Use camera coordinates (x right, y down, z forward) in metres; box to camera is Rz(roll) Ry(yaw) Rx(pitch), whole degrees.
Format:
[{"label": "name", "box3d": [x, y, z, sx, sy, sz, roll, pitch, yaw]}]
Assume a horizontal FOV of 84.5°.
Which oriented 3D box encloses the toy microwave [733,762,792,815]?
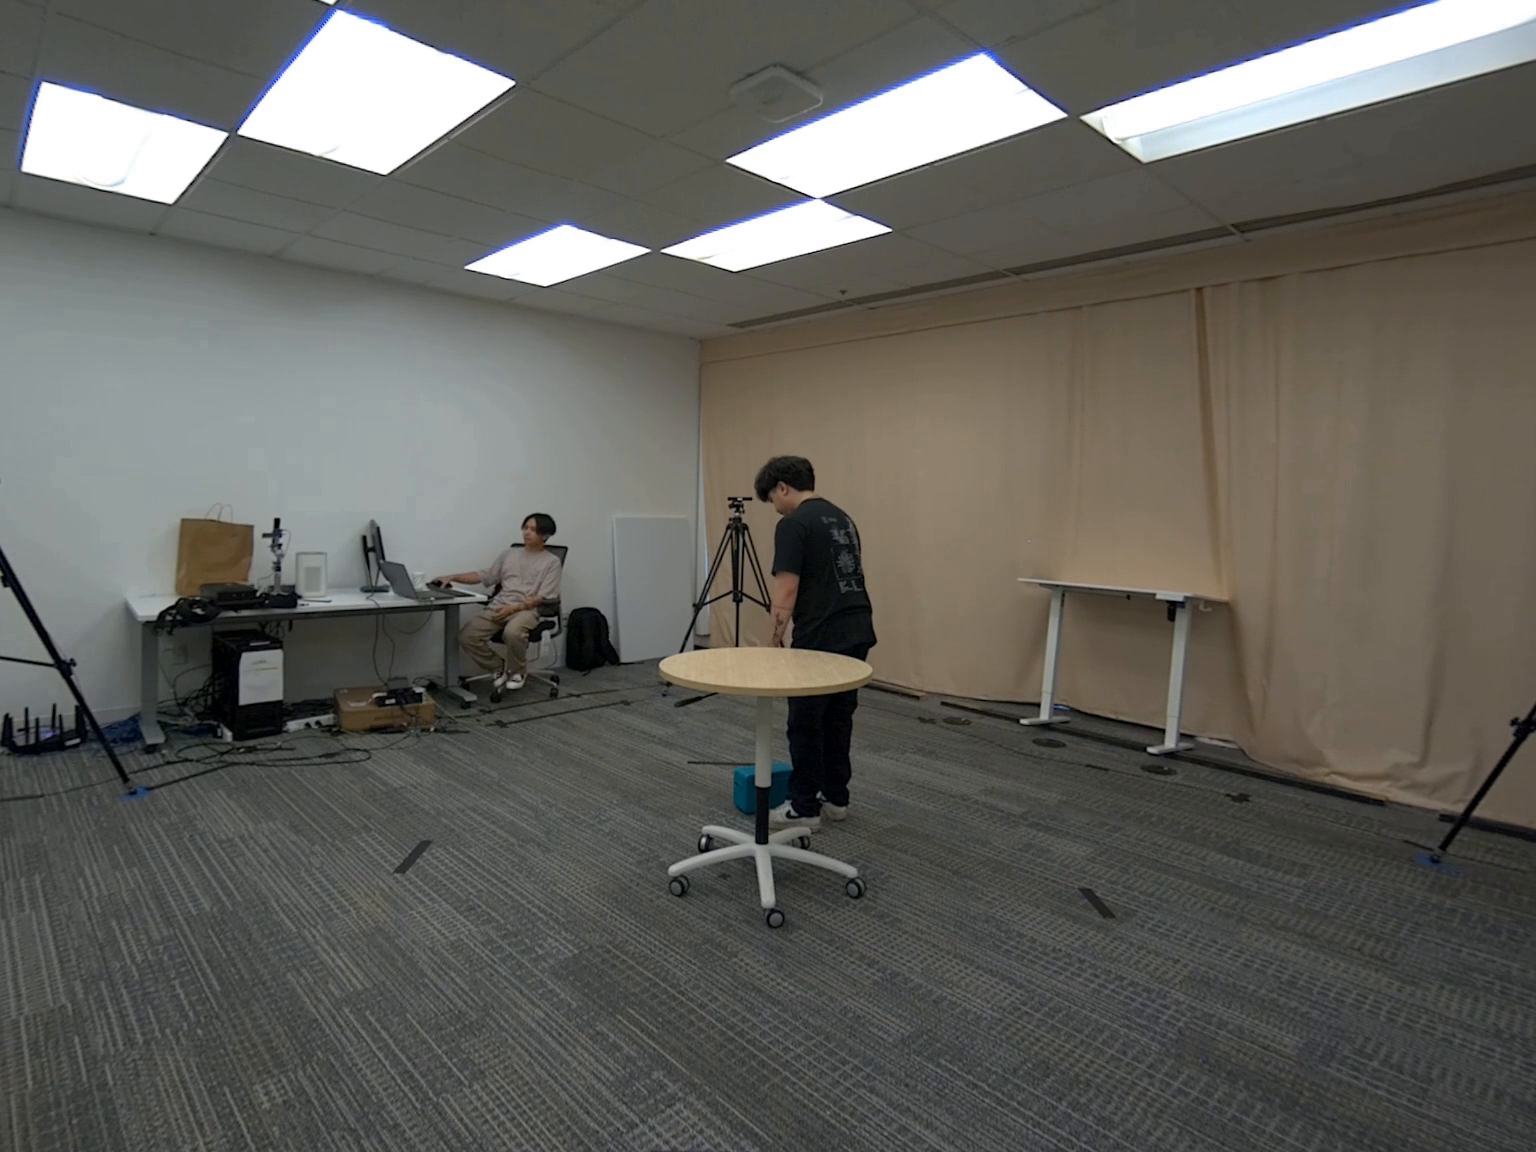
[{"label": "toy microwave", "box3d": [-0.015, 0.955, 3.821, 0.281, 0.184, 0.155, -1, 3, -27]}]
